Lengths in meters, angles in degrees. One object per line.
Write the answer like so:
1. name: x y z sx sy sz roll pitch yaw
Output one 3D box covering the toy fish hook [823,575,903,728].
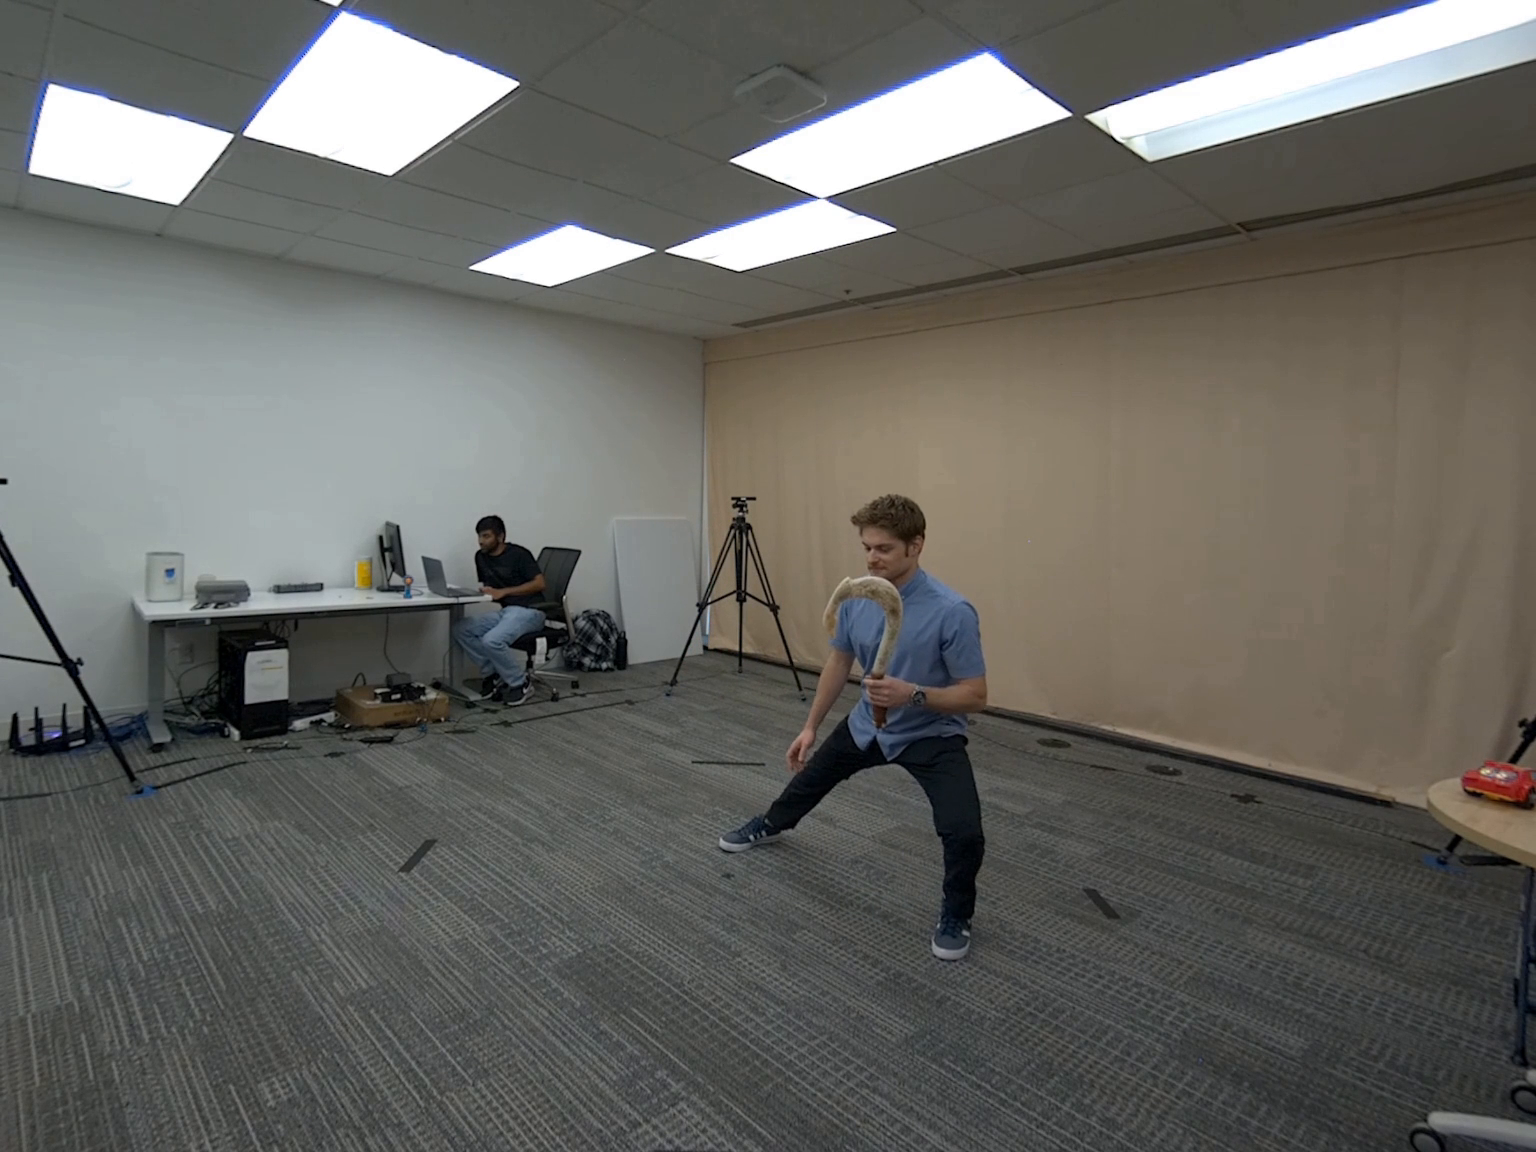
1. toy fish hook: 0.266 0.230 2.452 0.226 0.498 0.049 0 22 7
